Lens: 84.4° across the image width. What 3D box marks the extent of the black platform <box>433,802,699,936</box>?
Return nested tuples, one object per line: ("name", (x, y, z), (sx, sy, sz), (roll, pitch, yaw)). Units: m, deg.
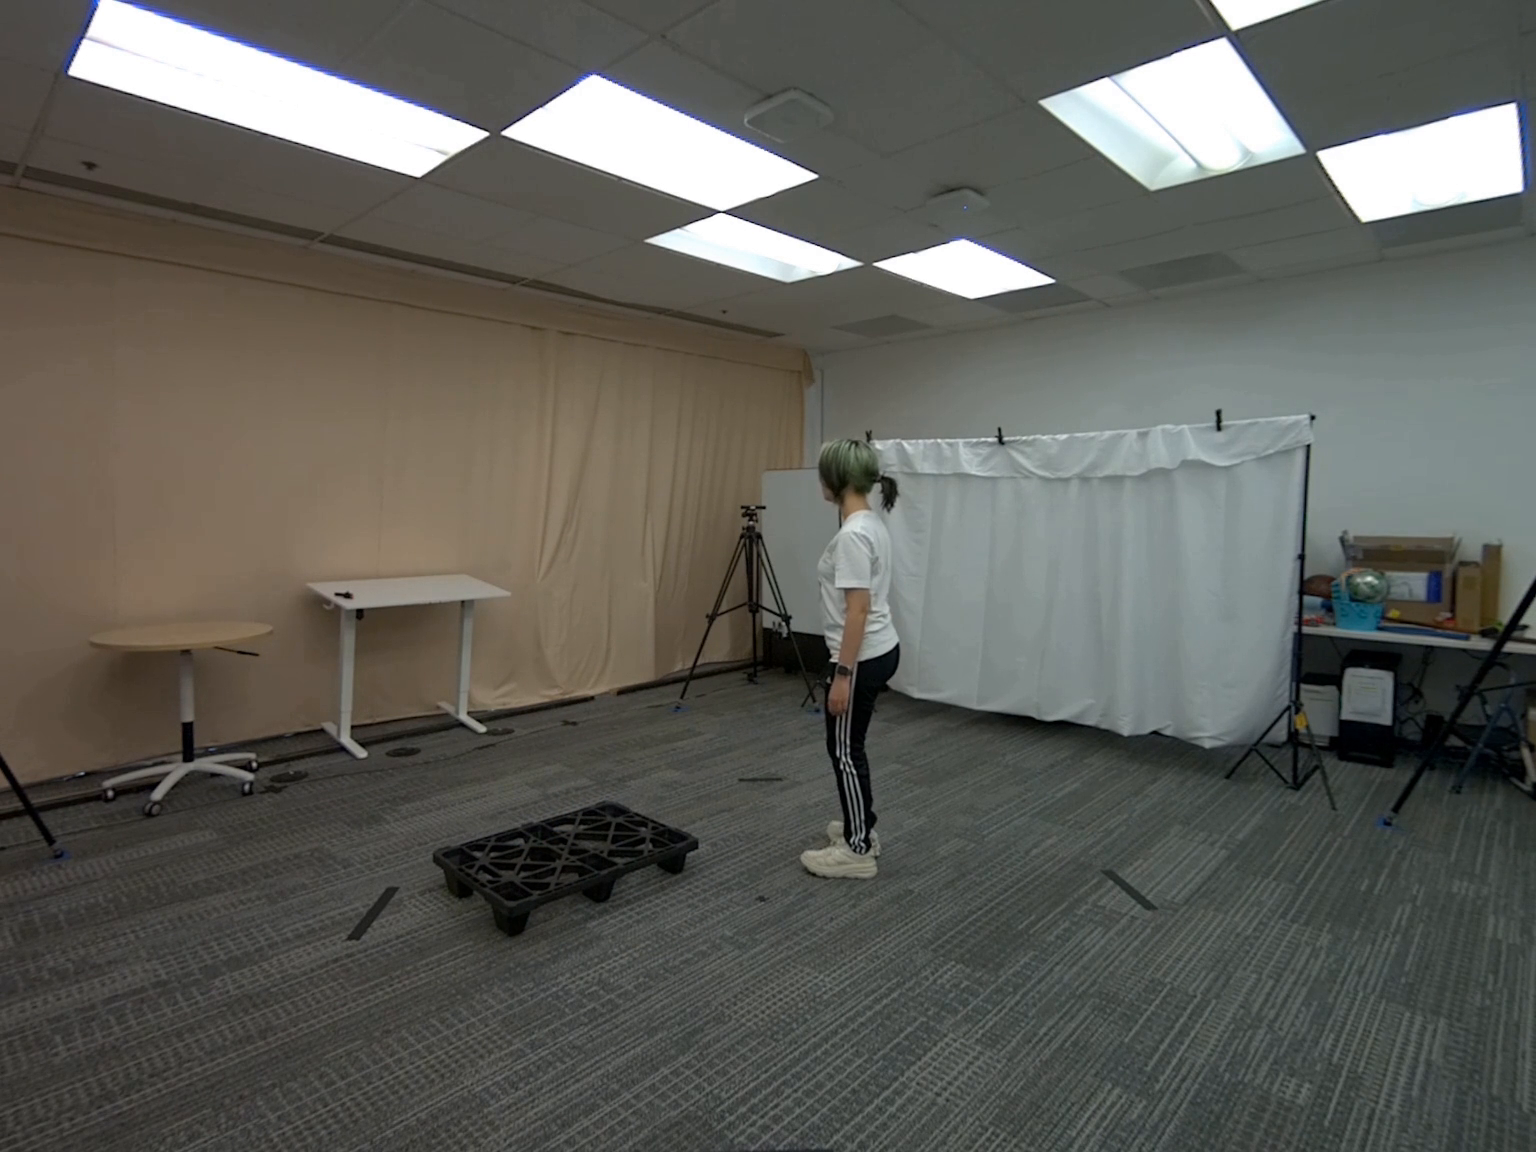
("black platform", (-0.739, 1.075, 3.141), (0.781, 0.143, 0.625), (-5, 7, -43))
